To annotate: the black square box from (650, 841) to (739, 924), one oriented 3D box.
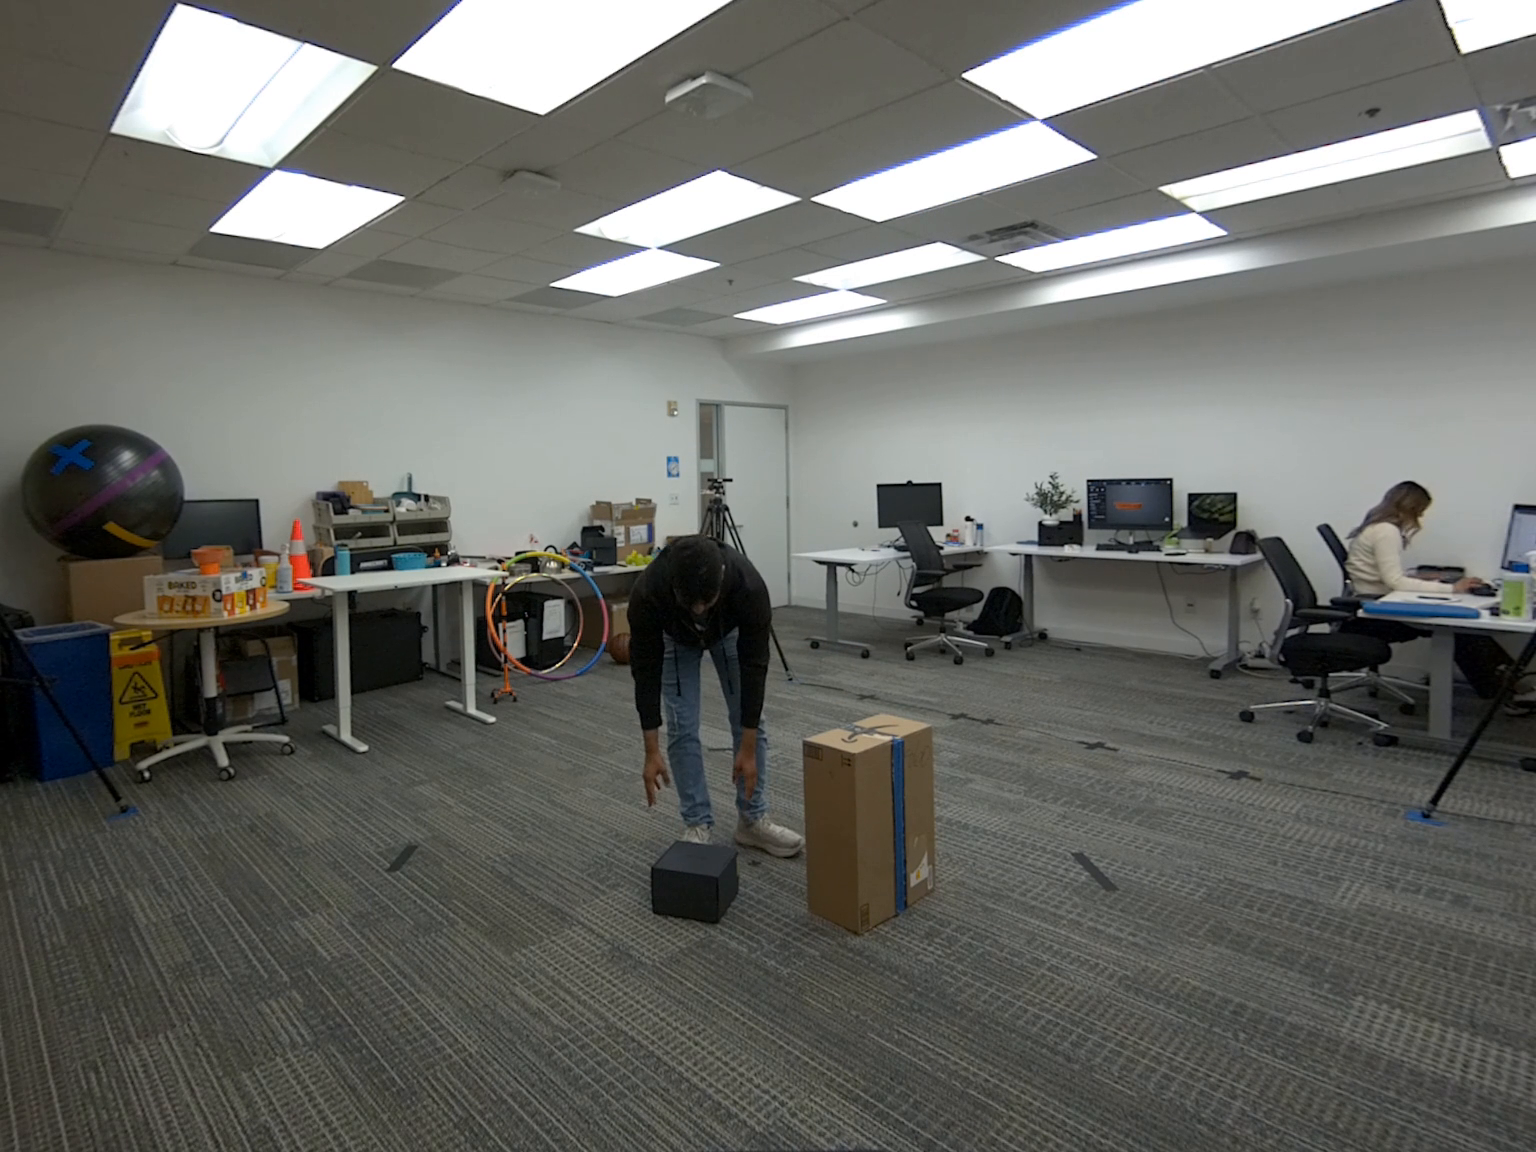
[{"bbox_3d":[-0.230,1.006,2.798,0.232,0.155,0.214,-1,5,17],"label":"black square box"}]
